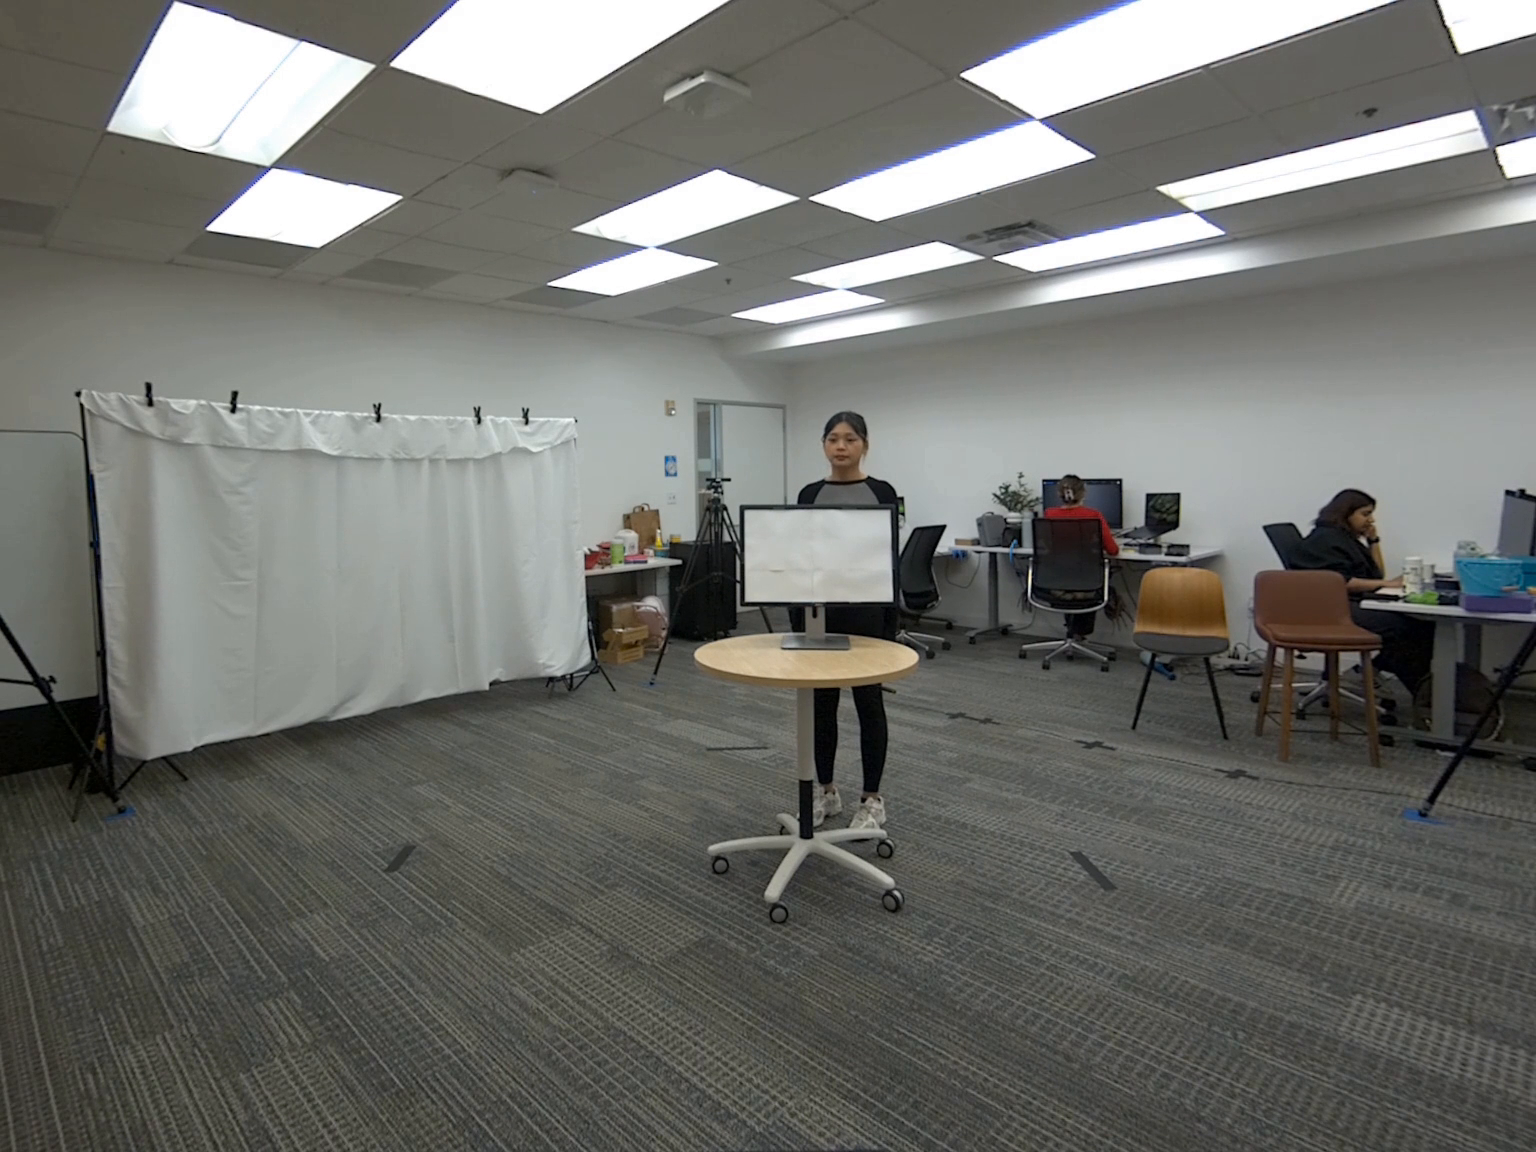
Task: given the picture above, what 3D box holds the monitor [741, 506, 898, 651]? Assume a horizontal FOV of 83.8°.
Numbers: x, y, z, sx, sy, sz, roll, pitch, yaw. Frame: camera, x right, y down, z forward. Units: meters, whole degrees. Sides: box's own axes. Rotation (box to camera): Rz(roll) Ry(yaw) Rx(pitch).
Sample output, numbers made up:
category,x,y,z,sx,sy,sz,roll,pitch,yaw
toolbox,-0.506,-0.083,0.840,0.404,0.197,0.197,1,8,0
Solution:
category,x,y,z,sx,sy,sz,roll,pitch,yaw
monitor,0.173,0.000,3.085,0.538,0.519,0.189,0,6,-3
